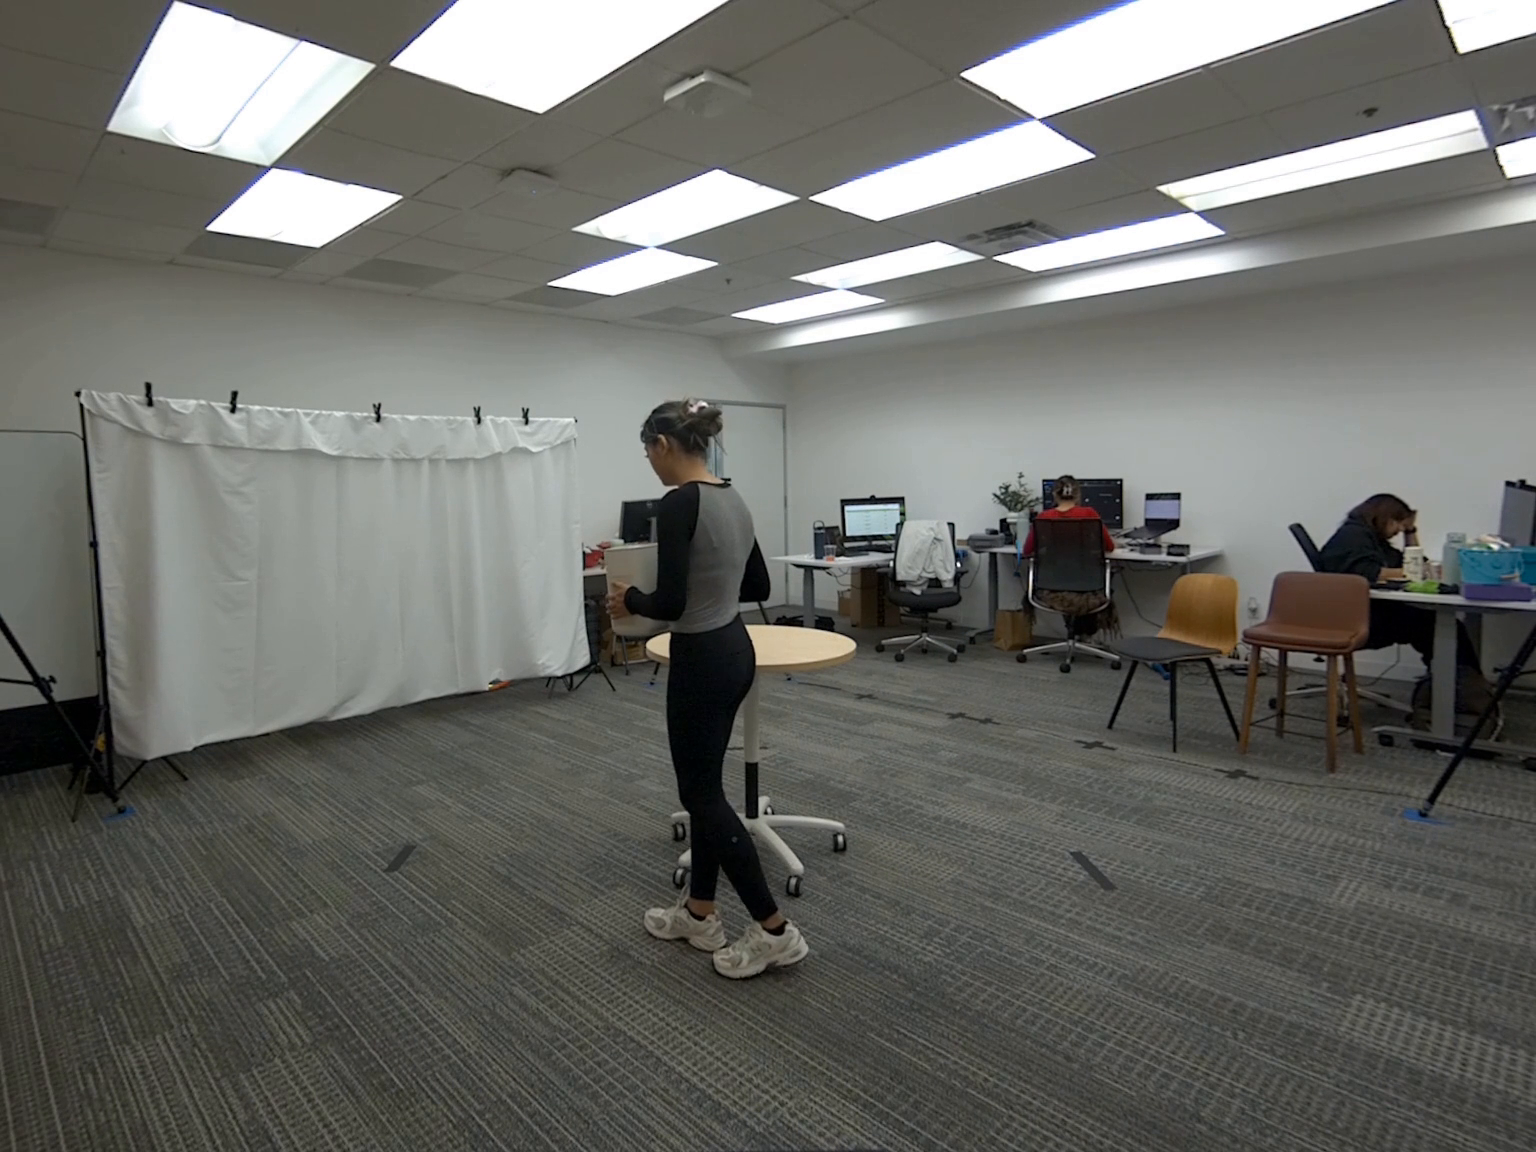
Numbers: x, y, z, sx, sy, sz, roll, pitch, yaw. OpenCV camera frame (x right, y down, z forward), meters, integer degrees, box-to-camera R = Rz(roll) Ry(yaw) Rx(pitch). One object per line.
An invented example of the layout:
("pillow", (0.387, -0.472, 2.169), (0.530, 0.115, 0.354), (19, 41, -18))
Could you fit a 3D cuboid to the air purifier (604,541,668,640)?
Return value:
("air purifier", (-0.380, 0.044, 2.591), (0.176, 0.265, 0.167), (-5, 2, 34))
